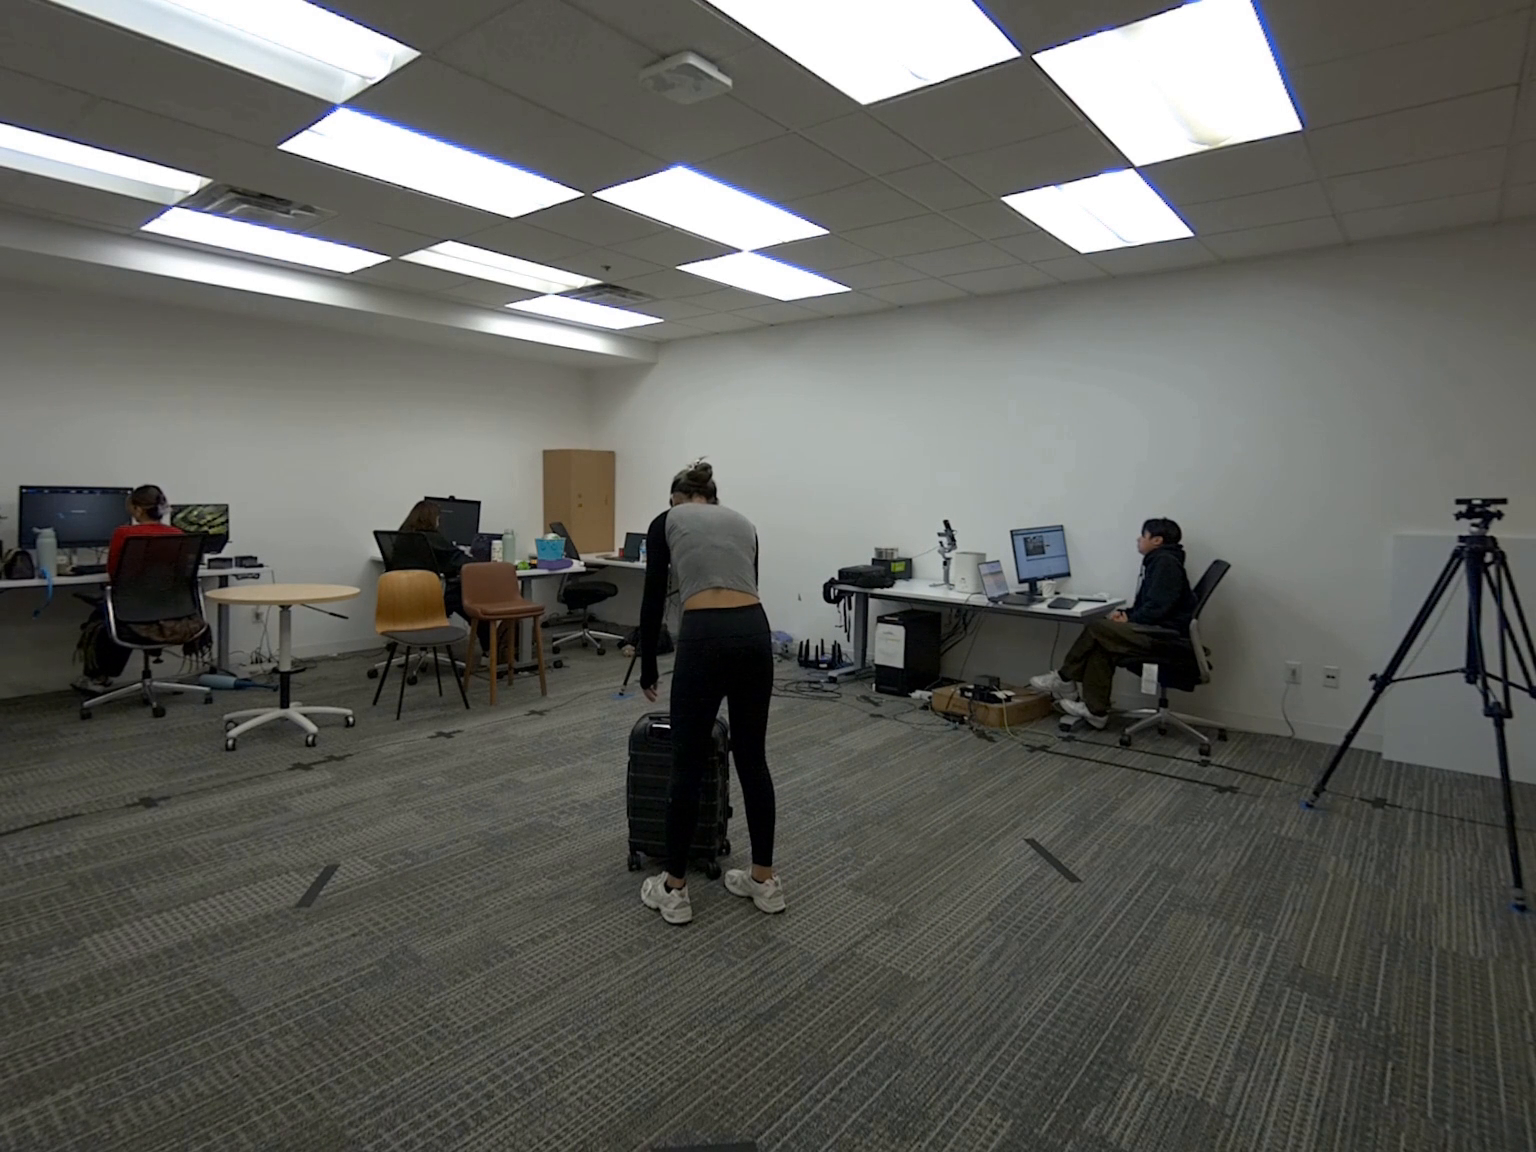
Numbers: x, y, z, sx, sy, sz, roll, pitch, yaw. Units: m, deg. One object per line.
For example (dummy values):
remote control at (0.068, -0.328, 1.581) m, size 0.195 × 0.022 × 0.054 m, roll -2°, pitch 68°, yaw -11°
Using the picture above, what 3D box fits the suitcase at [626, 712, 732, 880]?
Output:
suitcase at (-0.344, 0.783, 3.187) m, size 0.381 × 0.549 × 0.245 m, roll 1°, pitch 1°, yaw 12°
